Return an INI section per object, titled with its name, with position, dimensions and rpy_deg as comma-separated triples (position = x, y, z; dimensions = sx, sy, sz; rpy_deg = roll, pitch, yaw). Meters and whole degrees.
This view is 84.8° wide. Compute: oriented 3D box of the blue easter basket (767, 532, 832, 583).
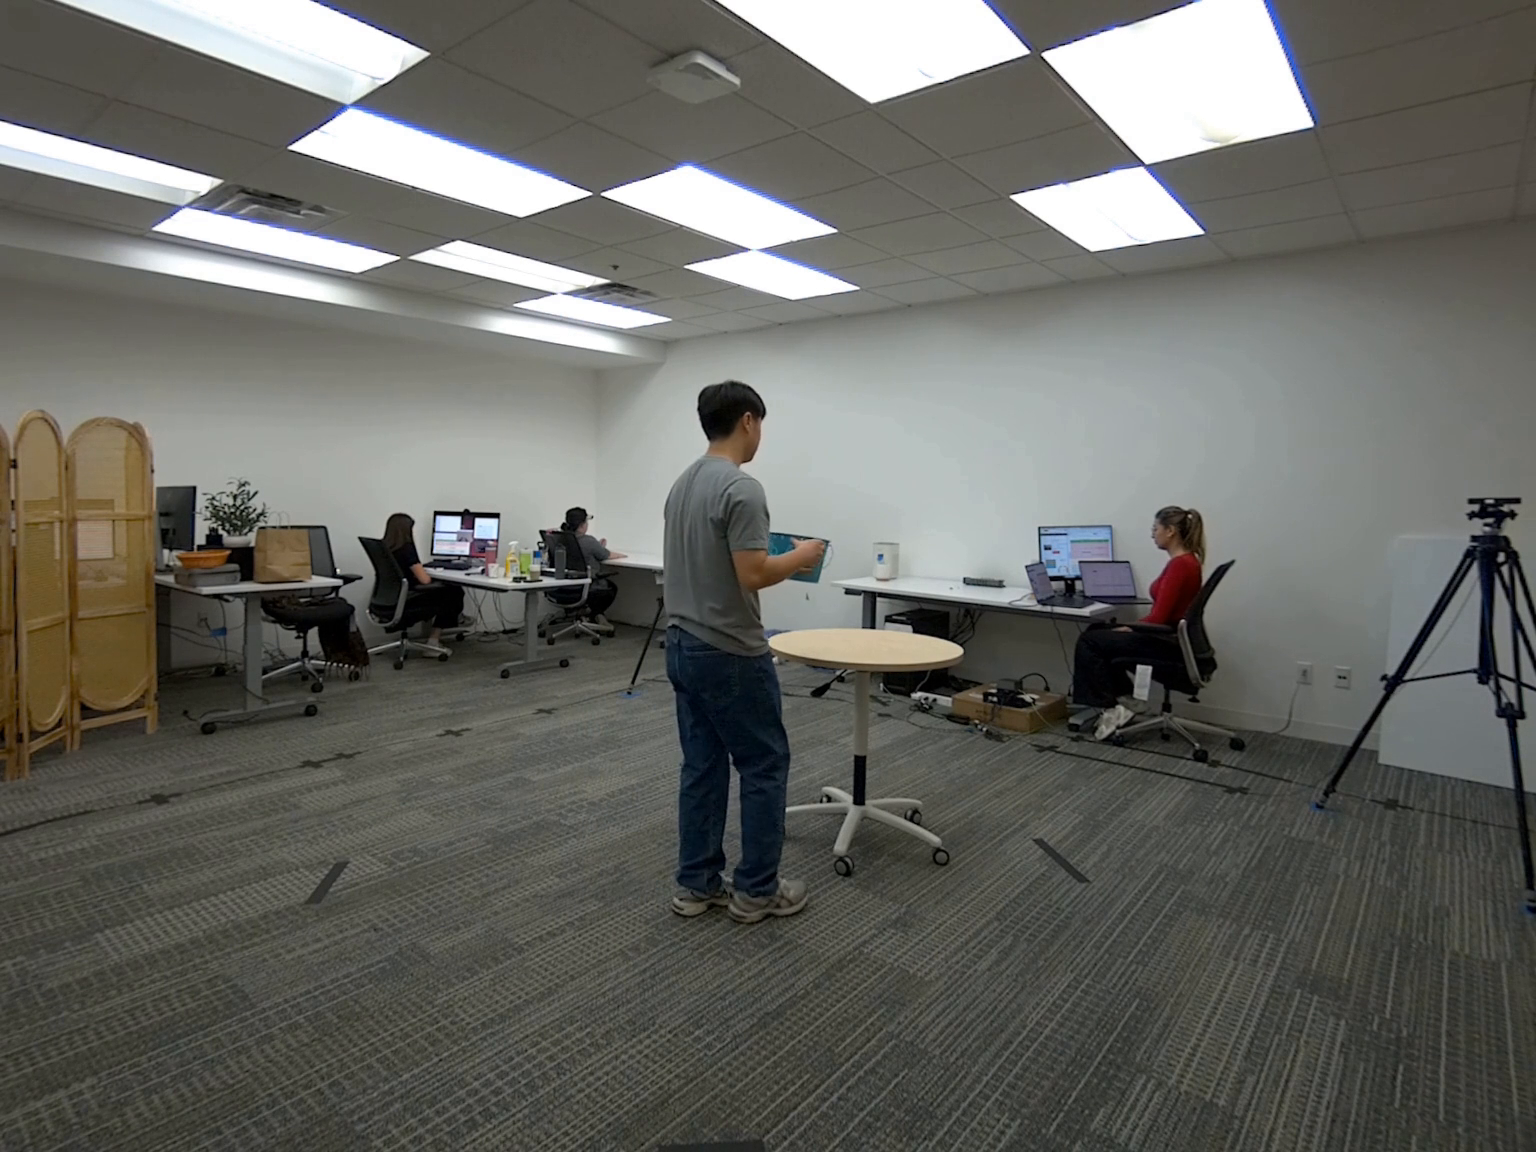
[blue easter basket]
position = 0.080, -0.061, 2.934
dimensions = 0.243, 0.156, 0.244
rpy_deg = 7, 0, -2
